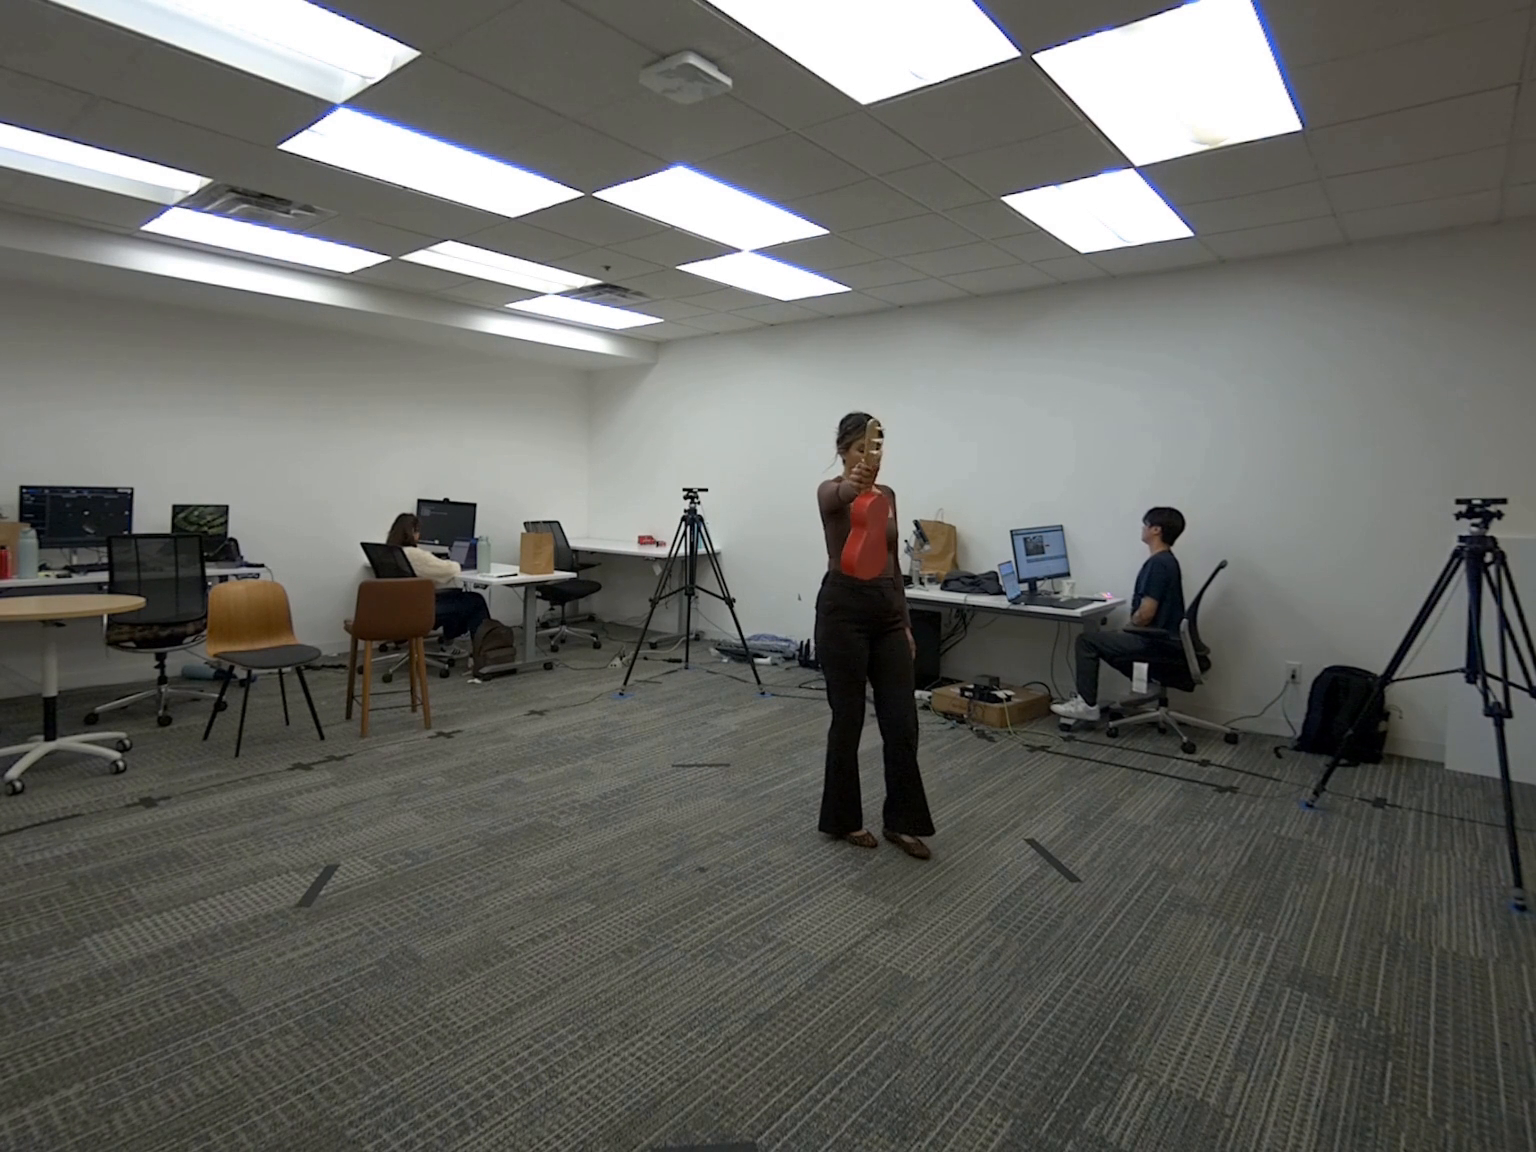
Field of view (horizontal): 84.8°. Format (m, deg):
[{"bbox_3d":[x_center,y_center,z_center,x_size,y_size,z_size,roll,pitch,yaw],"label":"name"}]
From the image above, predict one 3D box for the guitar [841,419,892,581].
[{"bbox_3d":[0.297,-0.238,2.673,0.073,0.490,0.189,12,20,35],"label":"guitar"}]
